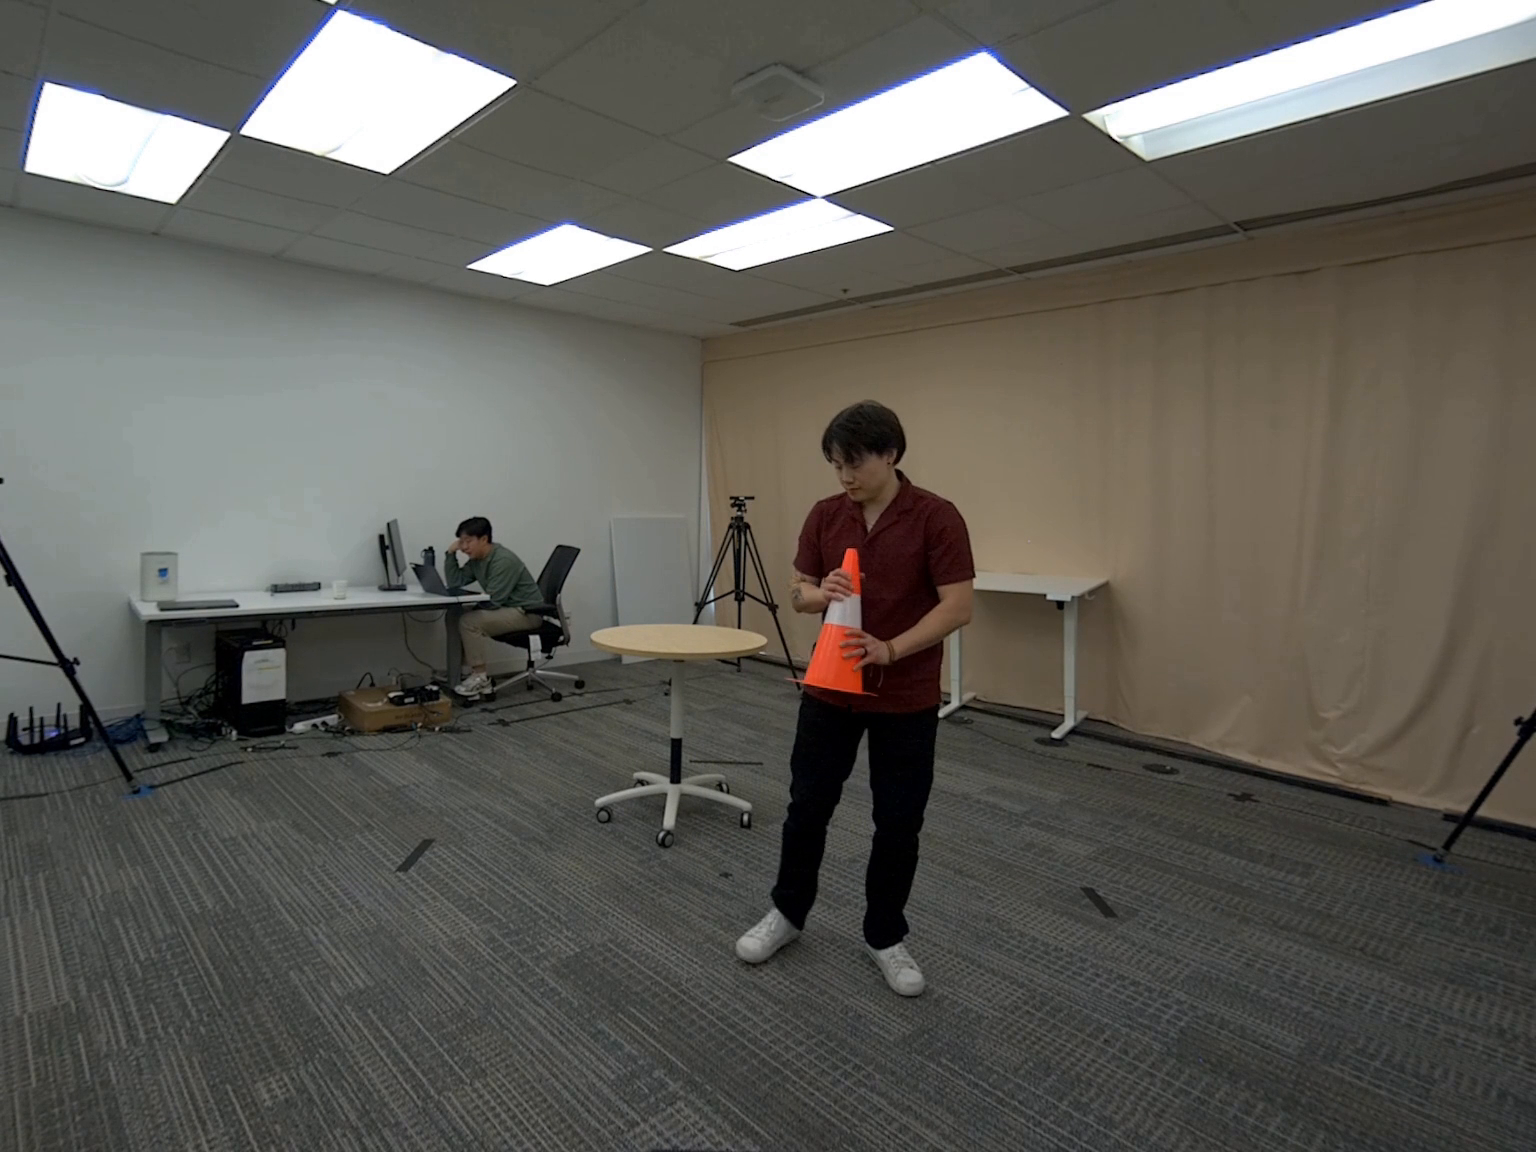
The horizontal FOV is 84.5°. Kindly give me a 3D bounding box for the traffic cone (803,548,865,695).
[{"bbox_3d":[0.199,0.120,2.304,0.210,0.385,0.198,4,-6,45],"label":"traffic cone"}]
